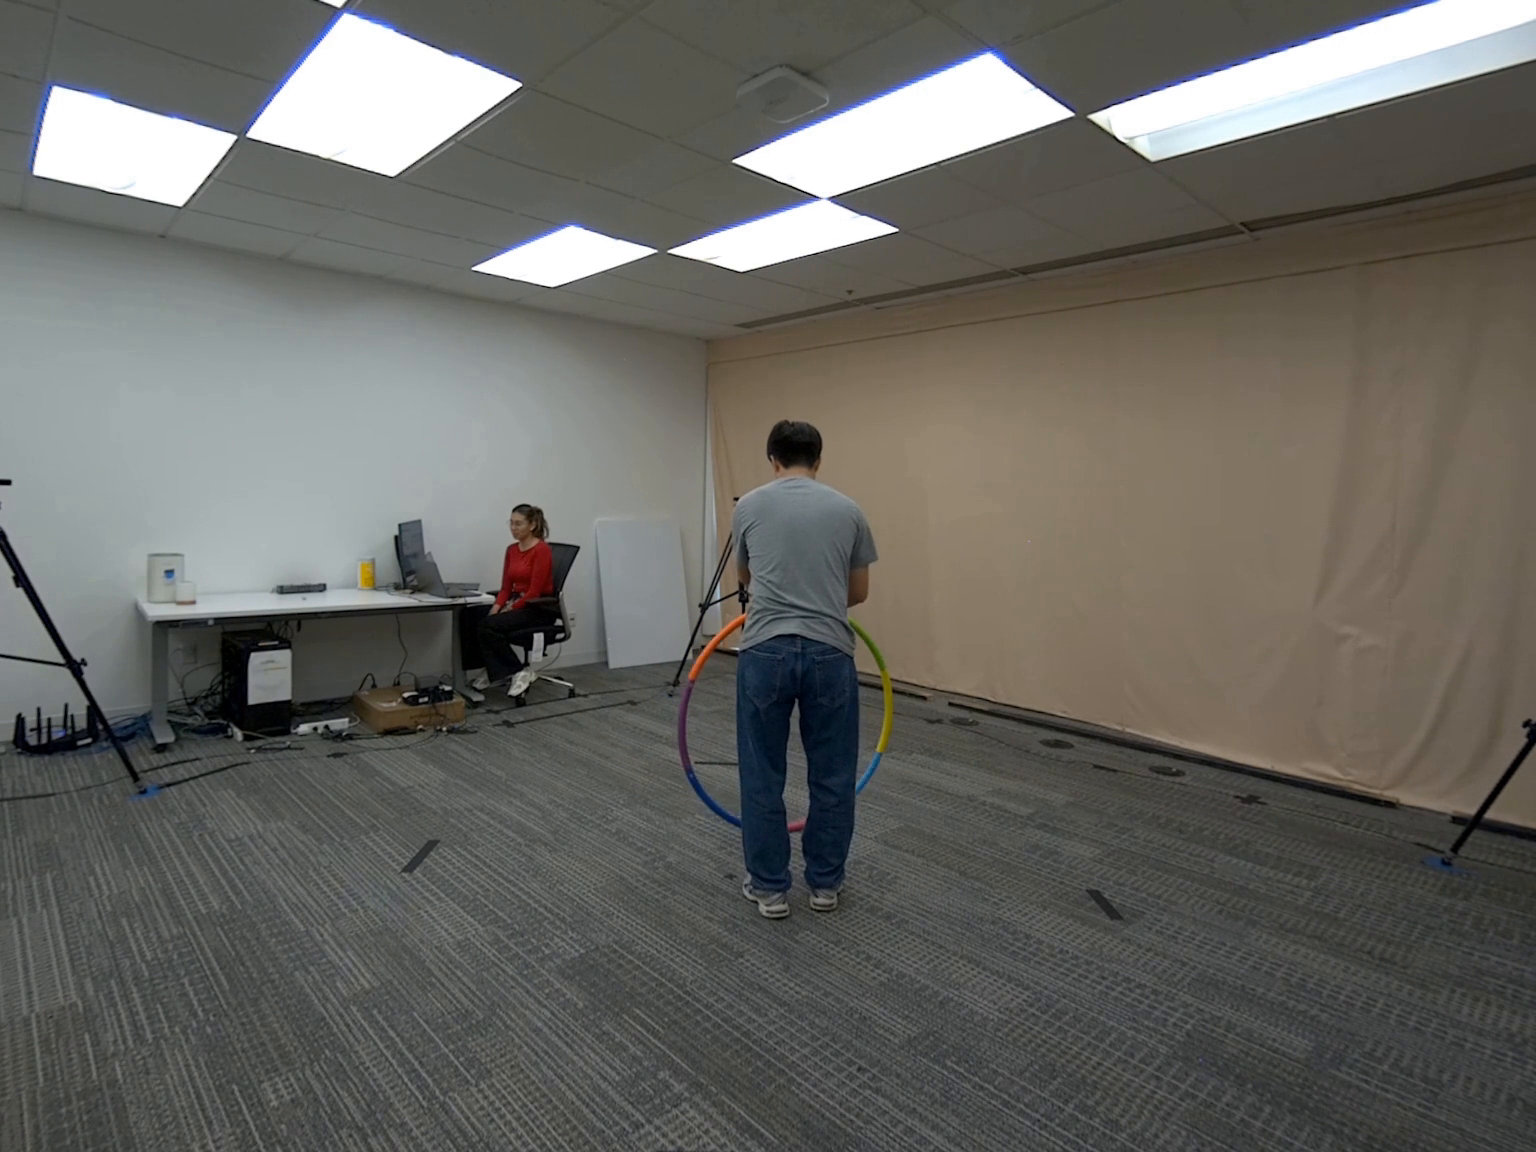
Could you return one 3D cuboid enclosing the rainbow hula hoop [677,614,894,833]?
[{"bbox_3d":[0.073,0.595,3.517,0.962,0.976,0.036,0,4,-22],"label":"rainbow hula hoop"}]
